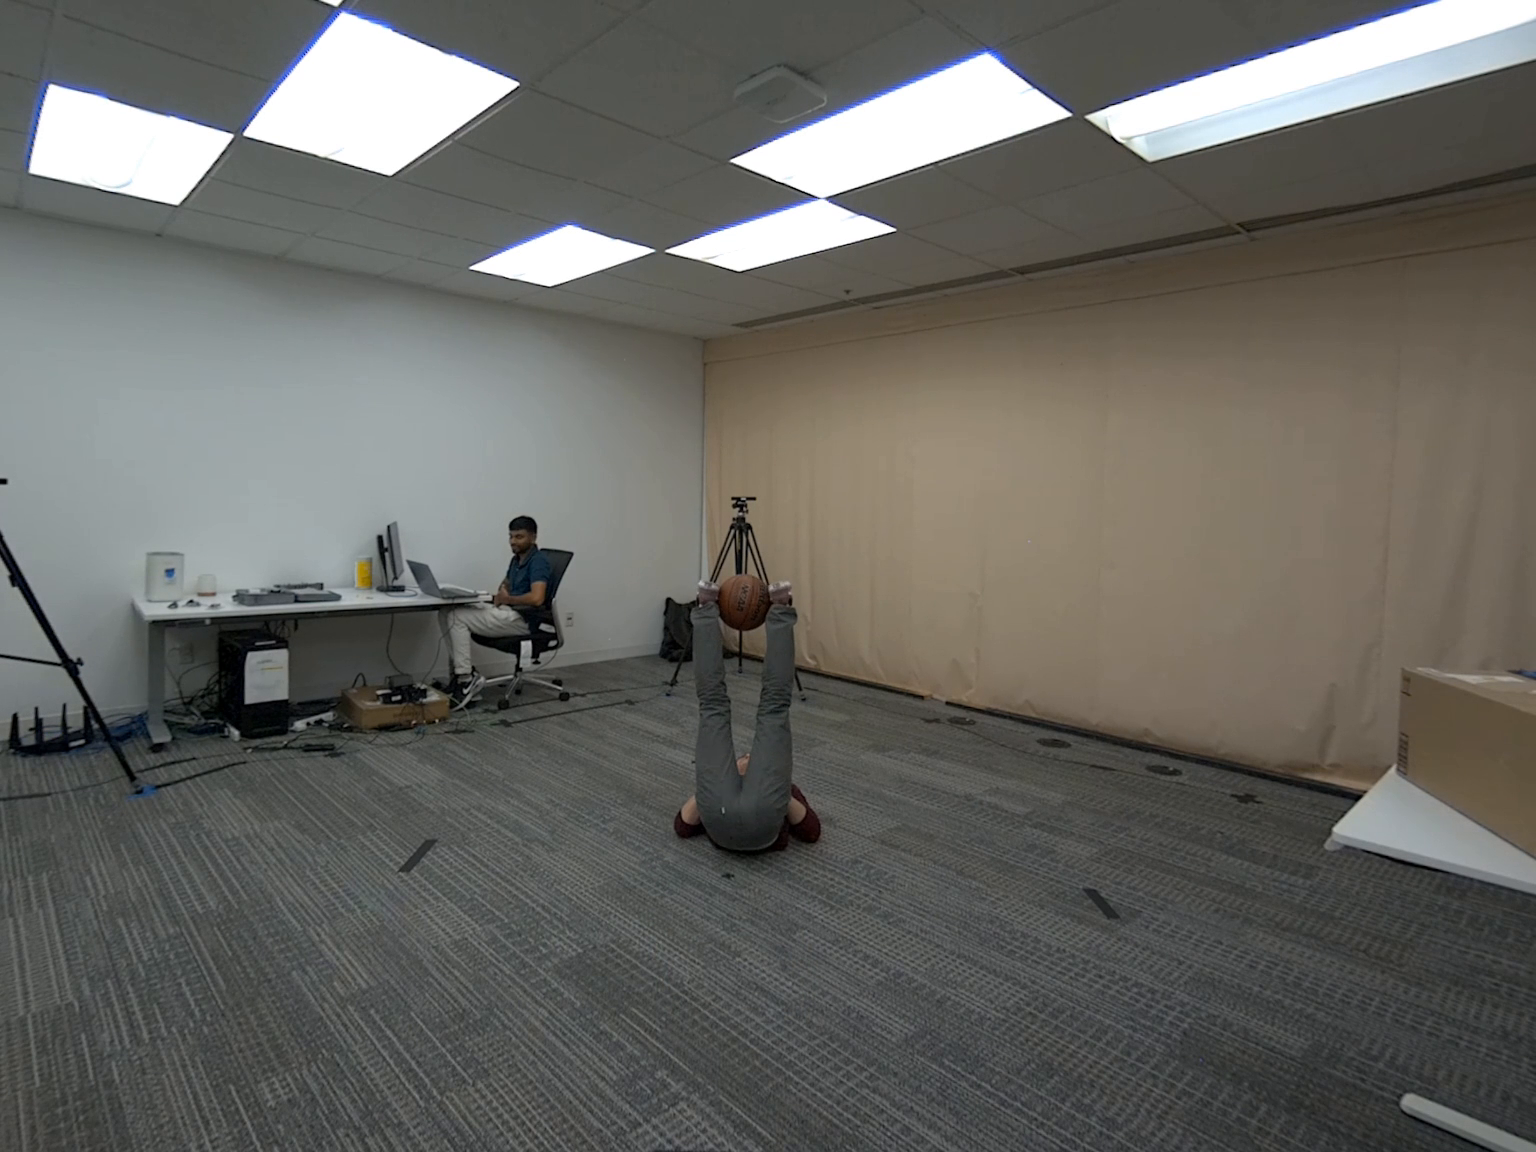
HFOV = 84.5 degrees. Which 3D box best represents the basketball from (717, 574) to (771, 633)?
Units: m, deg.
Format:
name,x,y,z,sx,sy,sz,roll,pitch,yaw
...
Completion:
name,x,y,z,sx,sy,sz,roll,pitch,yaw
basketball,-0.102,0.112,3.523,0.236,0.234,0.237,0,7,-1
